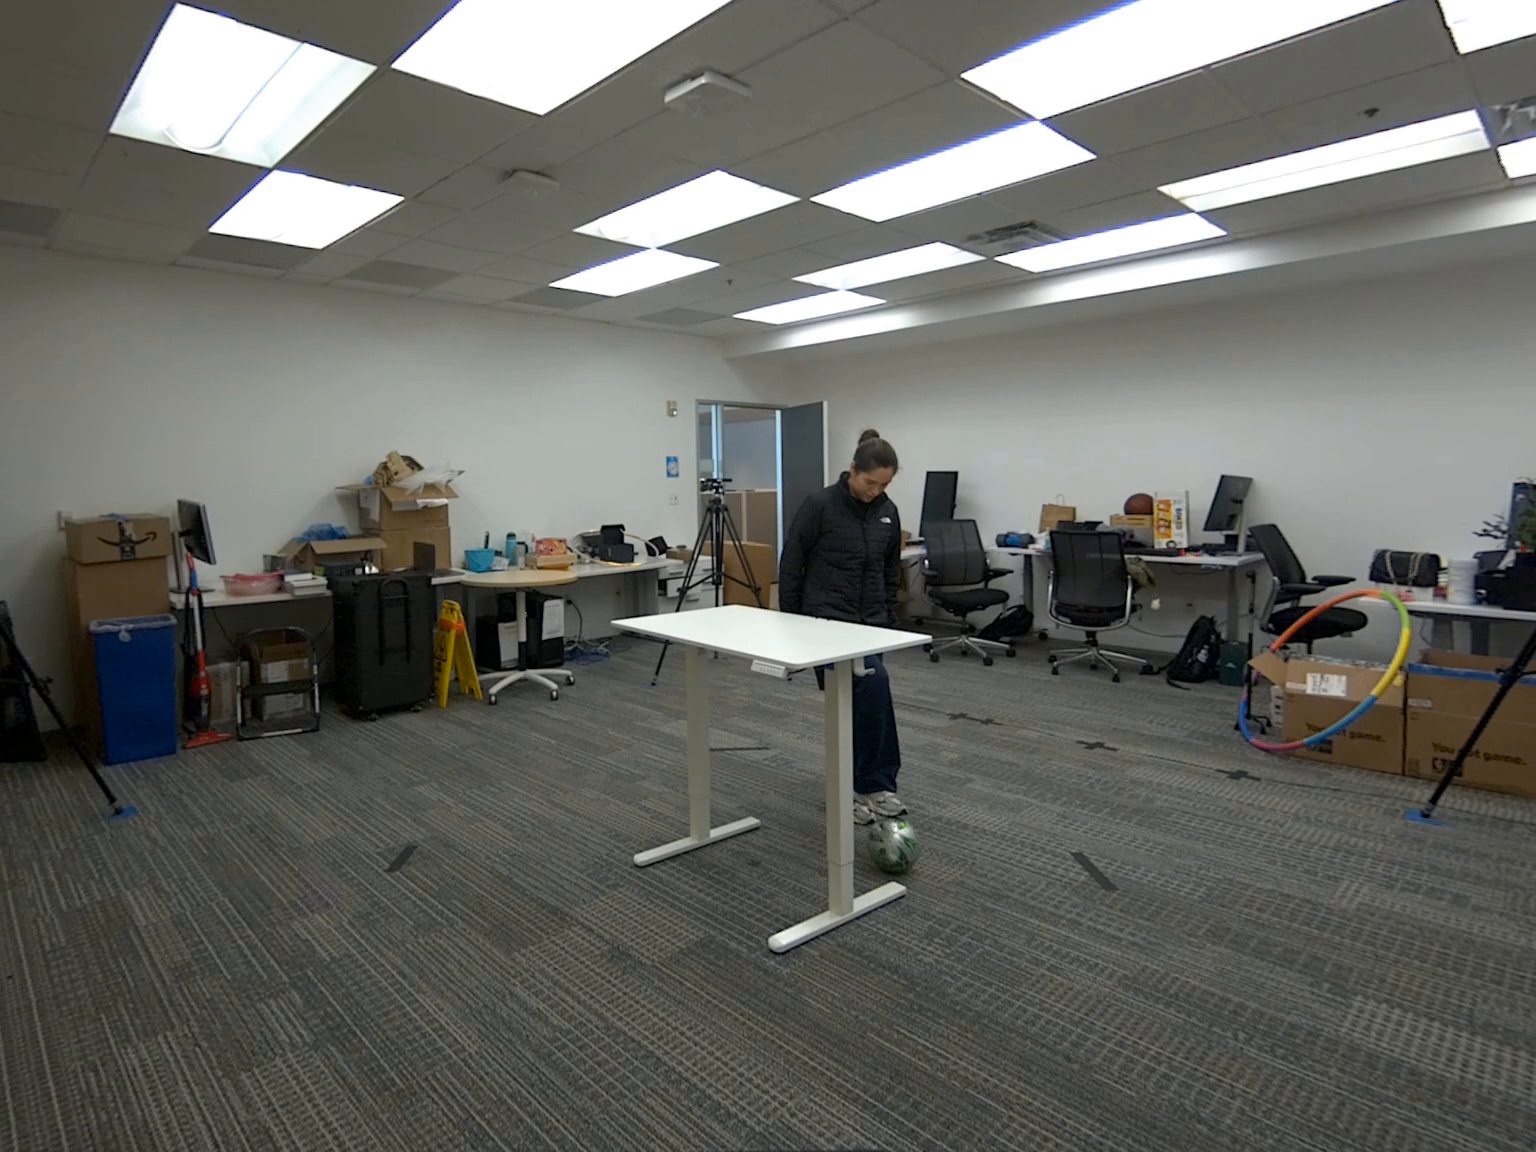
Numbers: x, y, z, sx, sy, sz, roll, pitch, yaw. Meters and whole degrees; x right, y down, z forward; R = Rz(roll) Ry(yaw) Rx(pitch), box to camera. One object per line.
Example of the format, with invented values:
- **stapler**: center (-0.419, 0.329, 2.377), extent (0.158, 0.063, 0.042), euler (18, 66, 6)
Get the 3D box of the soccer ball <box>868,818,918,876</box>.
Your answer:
- **soccer ball**: center (0.444, 0.959, 3.032), extent (0.187, 0.187, 0.188), euler (-1, 5, -2)
